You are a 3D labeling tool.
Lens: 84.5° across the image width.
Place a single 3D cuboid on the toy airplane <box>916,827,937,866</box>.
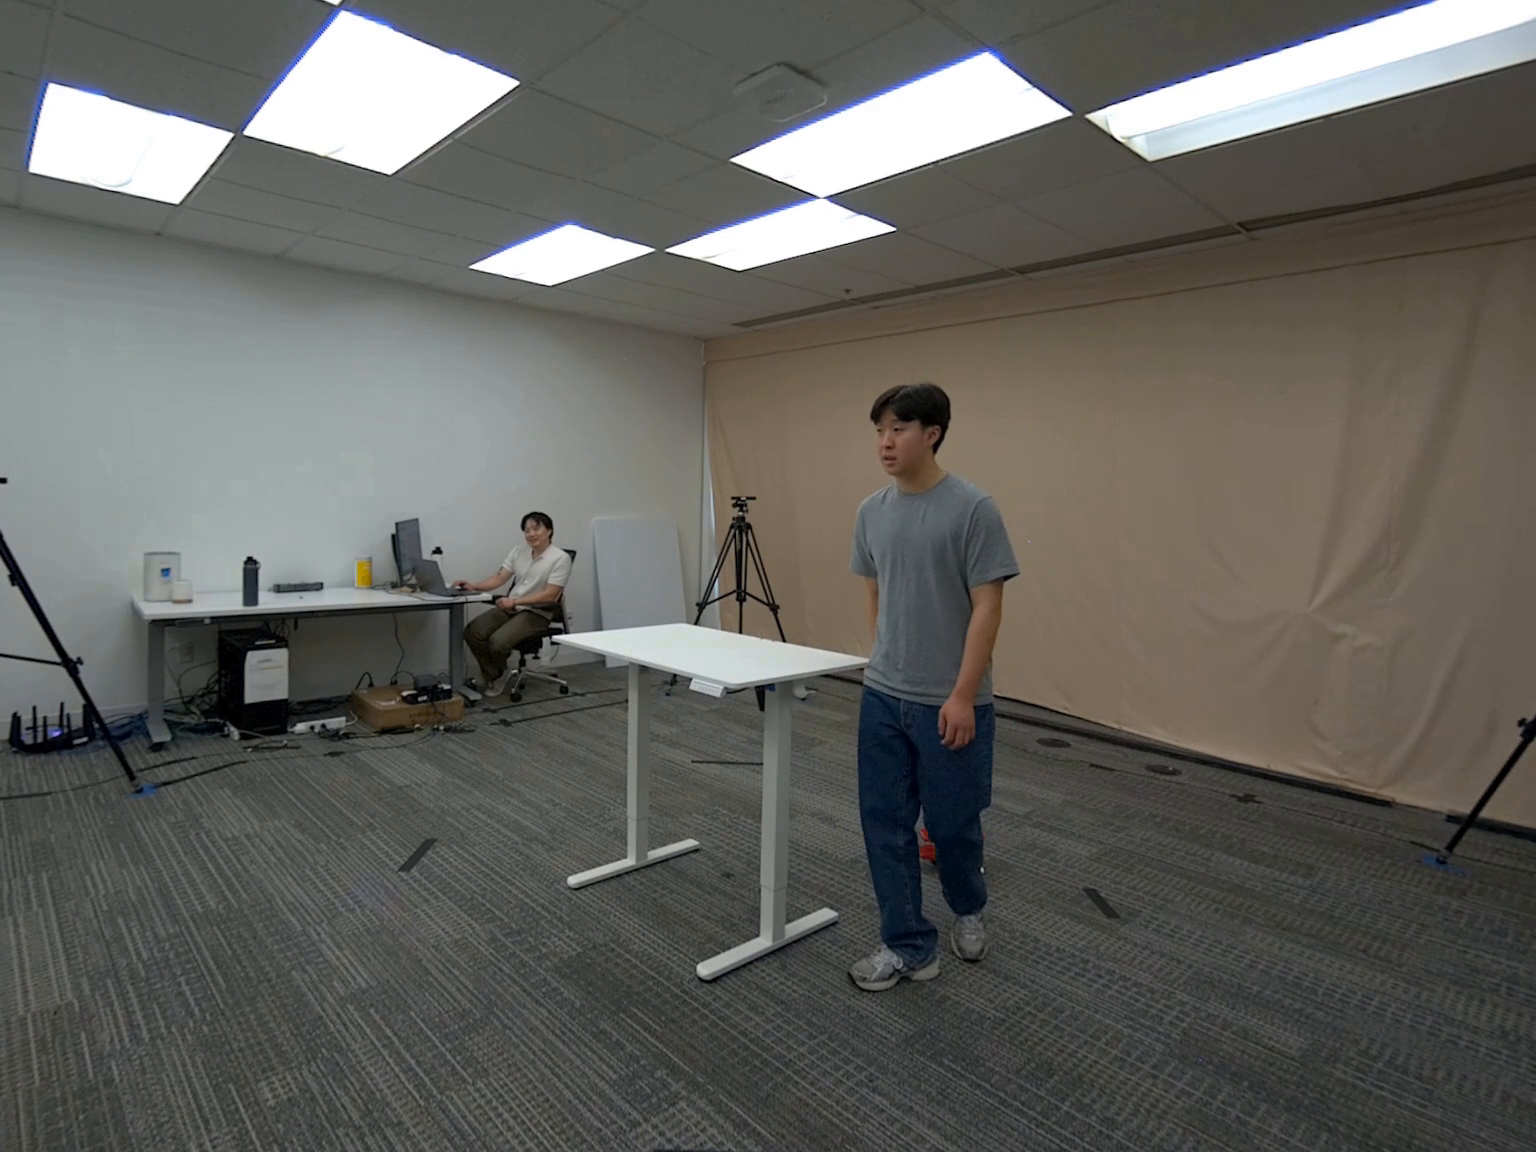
[{"bbox_3d":[0.729,1.053,3.187,0.245,0.156,0.266,-2,5,-41],"label":"toy airplane"}]
